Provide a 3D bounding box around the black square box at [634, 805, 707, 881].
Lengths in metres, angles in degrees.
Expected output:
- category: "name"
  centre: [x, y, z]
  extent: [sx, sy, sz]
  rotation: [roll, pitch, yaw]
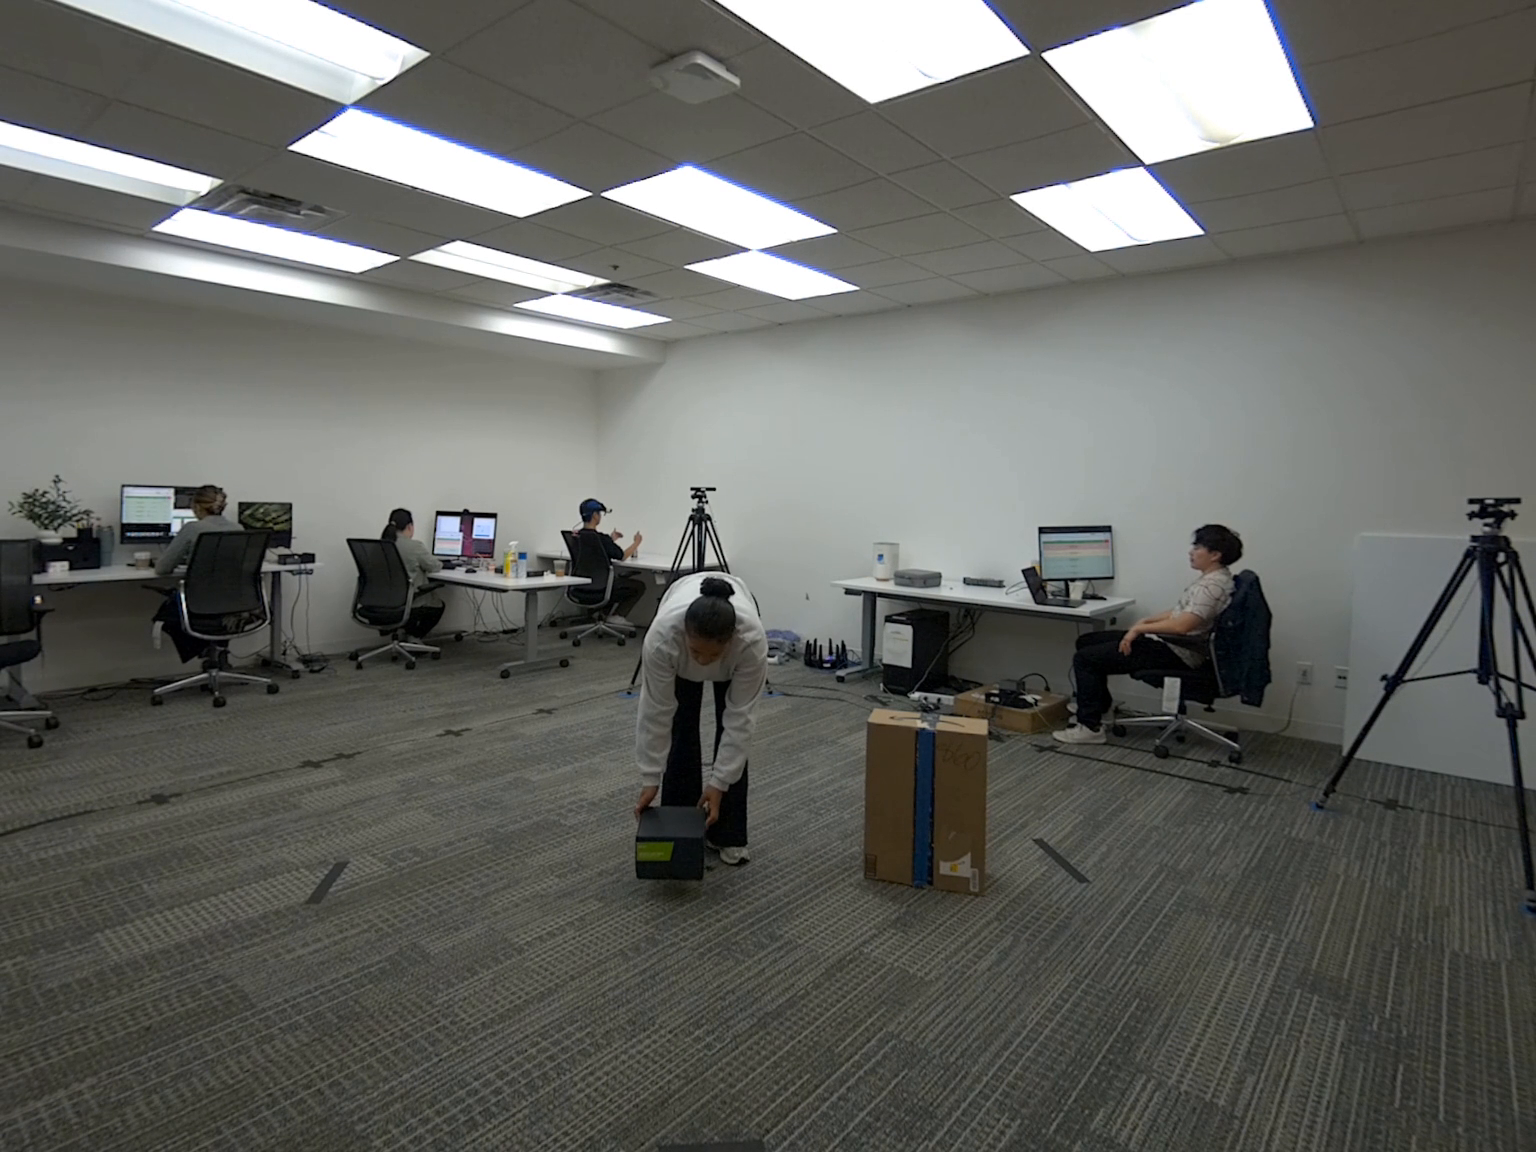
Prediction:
- category: "black square box"
  centre: [-0.340, 0.906, 2.938]
  extent: [0.228, 0.154, 0.219]
  rotation: [0, 10, -2]
